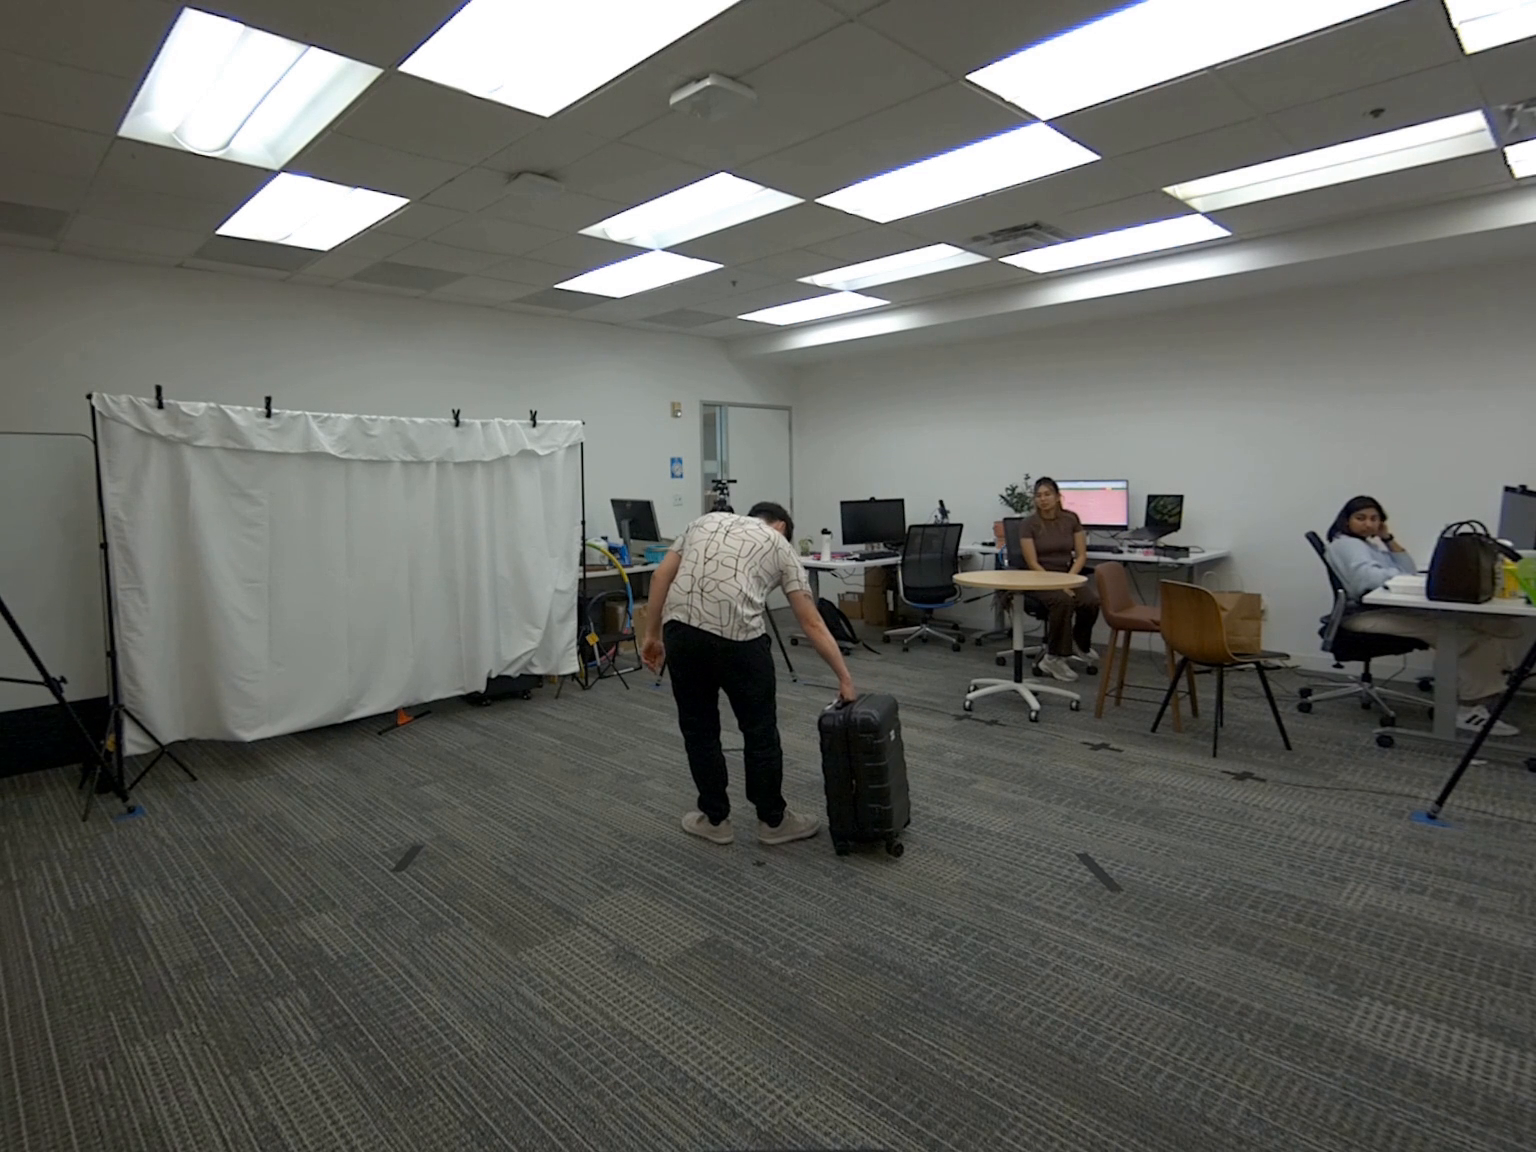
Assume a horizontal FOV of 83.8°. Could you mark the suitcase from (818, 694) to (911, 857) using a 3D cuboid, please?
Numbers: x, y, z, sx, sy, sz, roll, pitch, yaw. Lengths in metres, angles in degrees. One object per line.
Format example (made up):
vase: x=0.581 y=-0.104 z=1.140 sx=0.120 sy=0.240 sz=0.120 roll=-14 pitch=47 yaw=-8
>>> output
suitcase: x=0.376 y=0.739 z=3.270 sx=0.253 sy=0.549 sz=0.369 roll=-6 pitch=2 yaw=22
